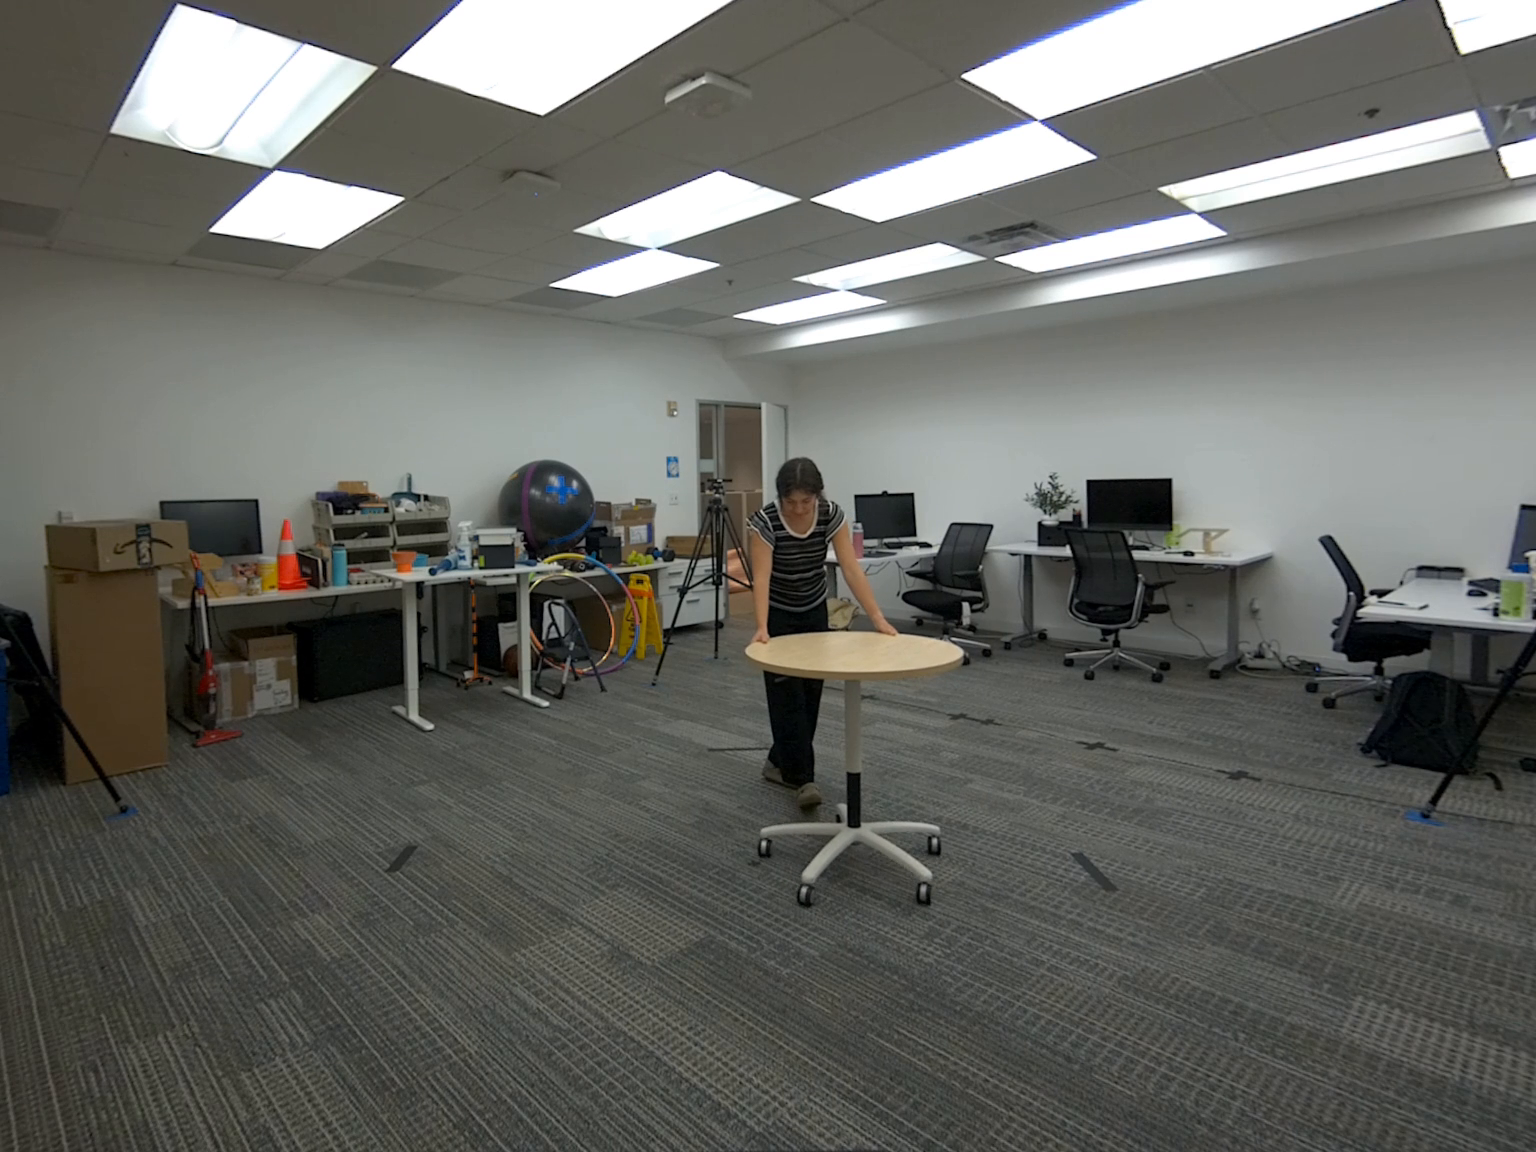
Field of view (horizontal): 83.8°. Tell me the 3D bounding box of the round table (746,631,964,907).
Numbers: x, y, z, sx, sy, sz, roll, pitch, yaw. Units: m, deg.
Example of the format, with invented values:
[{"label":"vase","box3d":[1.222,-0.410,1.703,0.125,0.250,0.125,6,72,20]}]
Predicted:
[{"label":"round table","box3d":[0.305,0.659,3.056,0.763,0.791,0.767,-1,4,-2]}]
